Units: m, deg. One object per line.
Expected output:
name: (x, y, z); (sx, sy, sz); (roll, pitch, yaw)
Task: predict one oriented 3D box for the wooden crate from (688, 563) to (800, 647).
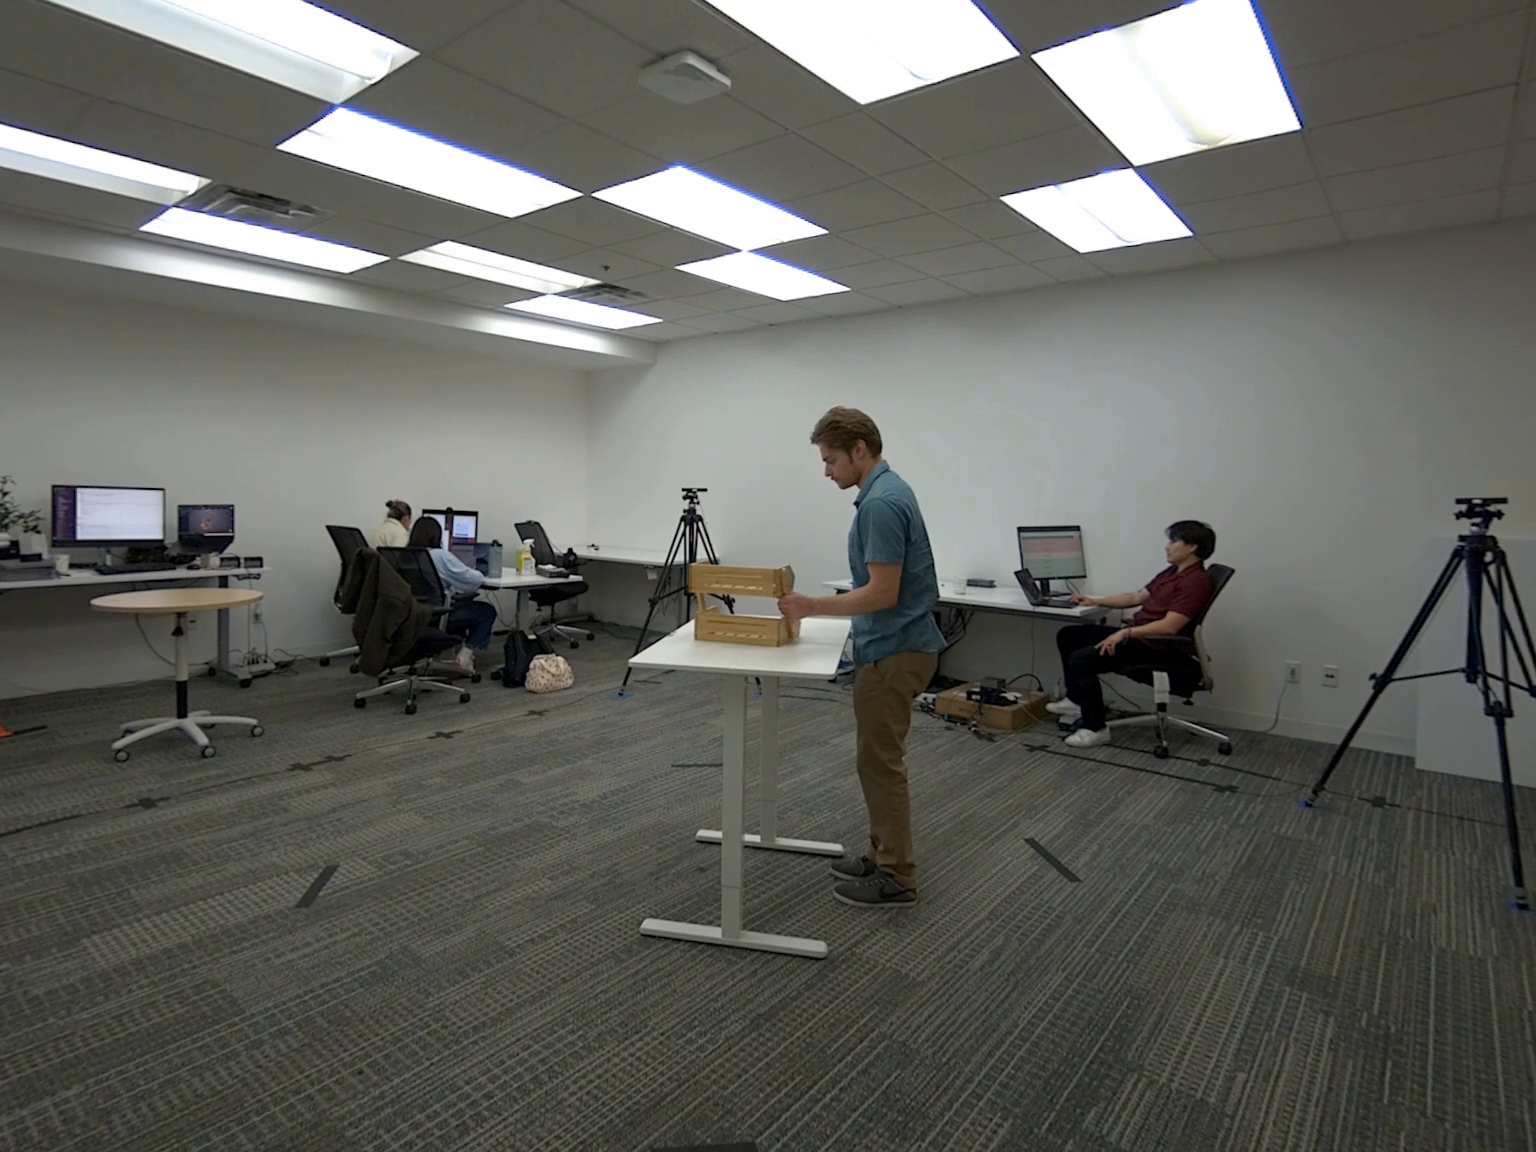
wooden crate: (-0.081, 0.079, 2.897); (0.331, 0.272, 0.297); (3, 5, 19)
